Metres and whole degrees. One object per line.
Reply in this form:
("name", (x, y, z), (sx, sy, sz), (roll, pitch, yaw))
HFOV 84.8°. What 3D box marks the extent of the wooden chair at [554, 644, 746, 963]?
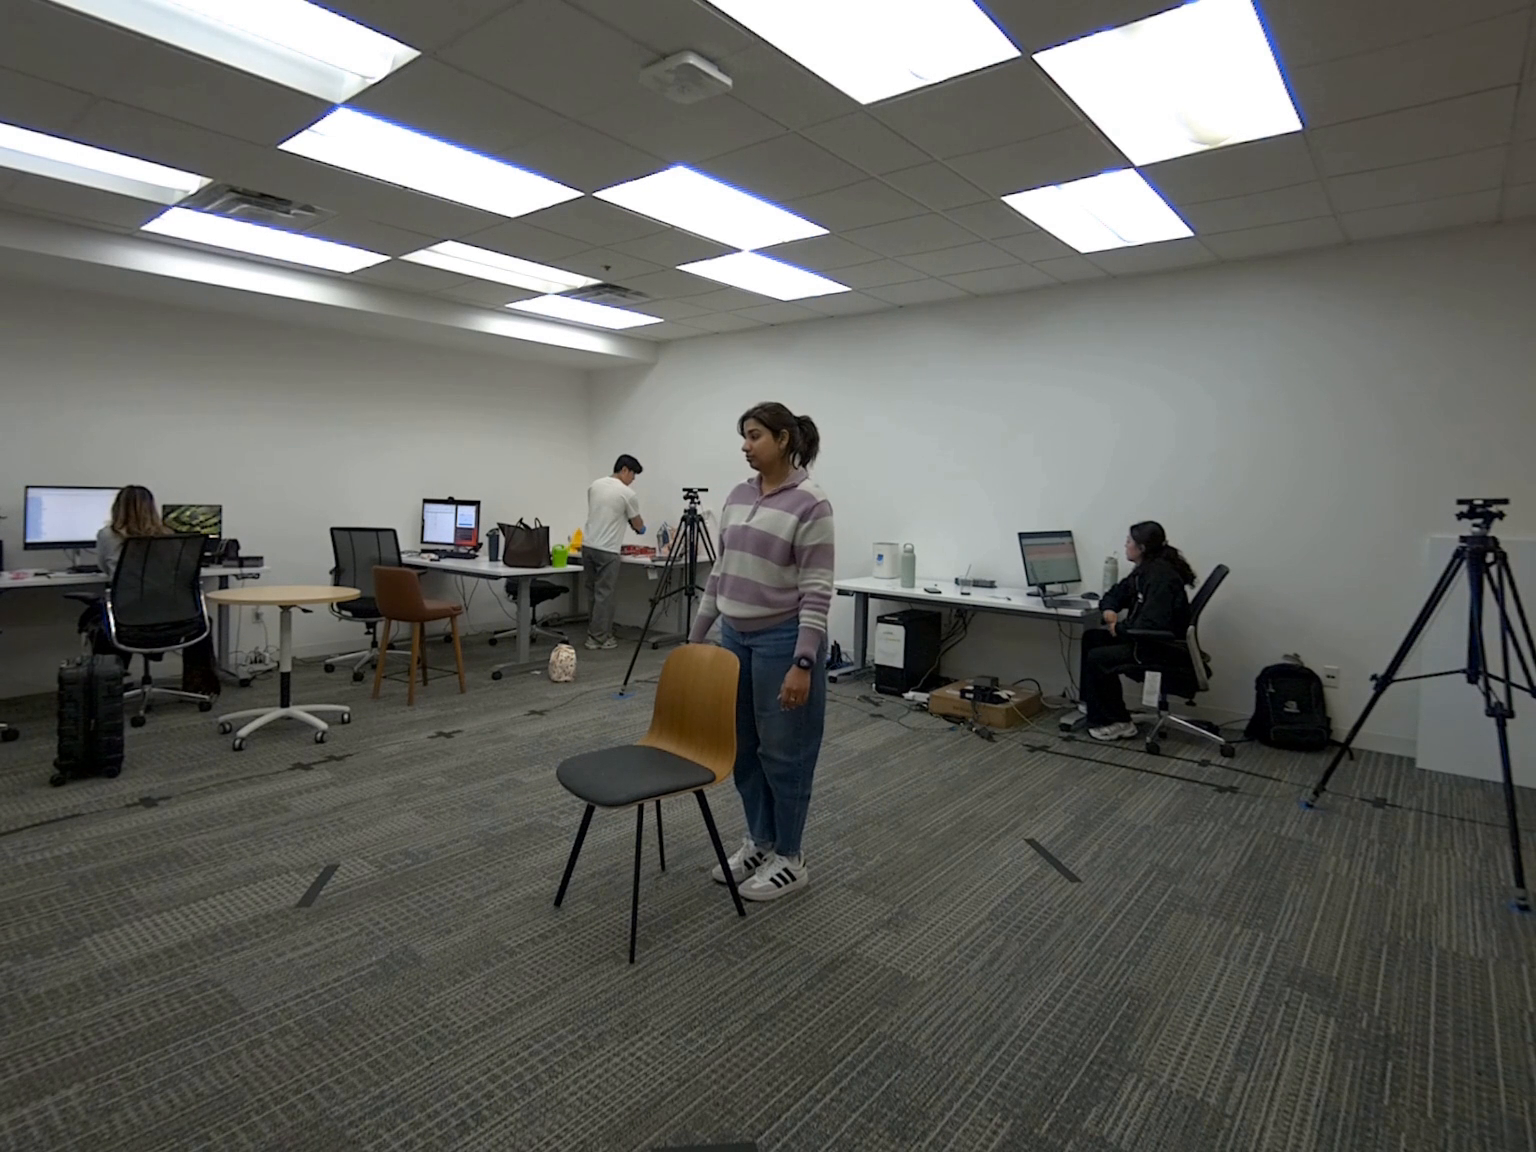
("wooden chair", (-0.397, 0.673, 2.757), (0.506, 0.877, 0.494), (4, 1, -43))
